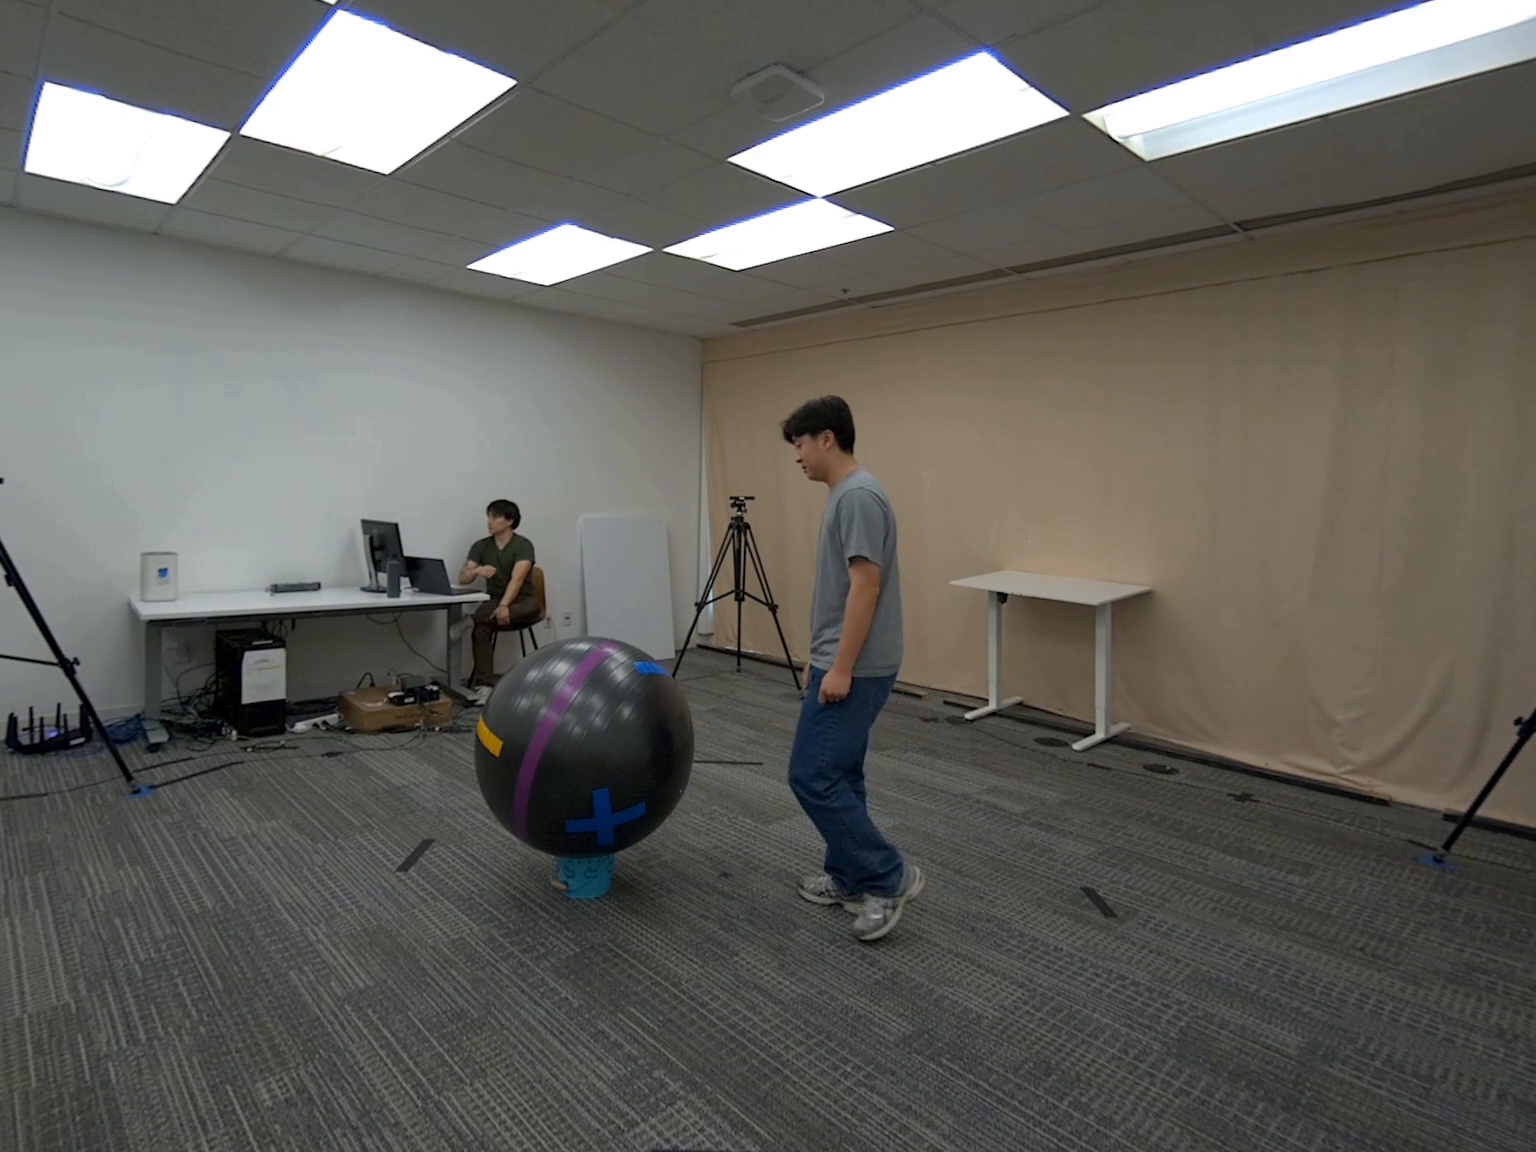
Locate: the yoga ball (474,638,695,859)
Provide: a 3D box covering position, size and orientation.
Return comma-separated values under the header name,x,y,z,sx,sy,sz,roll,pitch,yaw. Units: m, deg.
name,x,y,z,sx,sy,sz,roll,pitch,yaw
yoga ball,-0.635,0.595,2.962,0.757,0.756,0.761,1,4,-1
